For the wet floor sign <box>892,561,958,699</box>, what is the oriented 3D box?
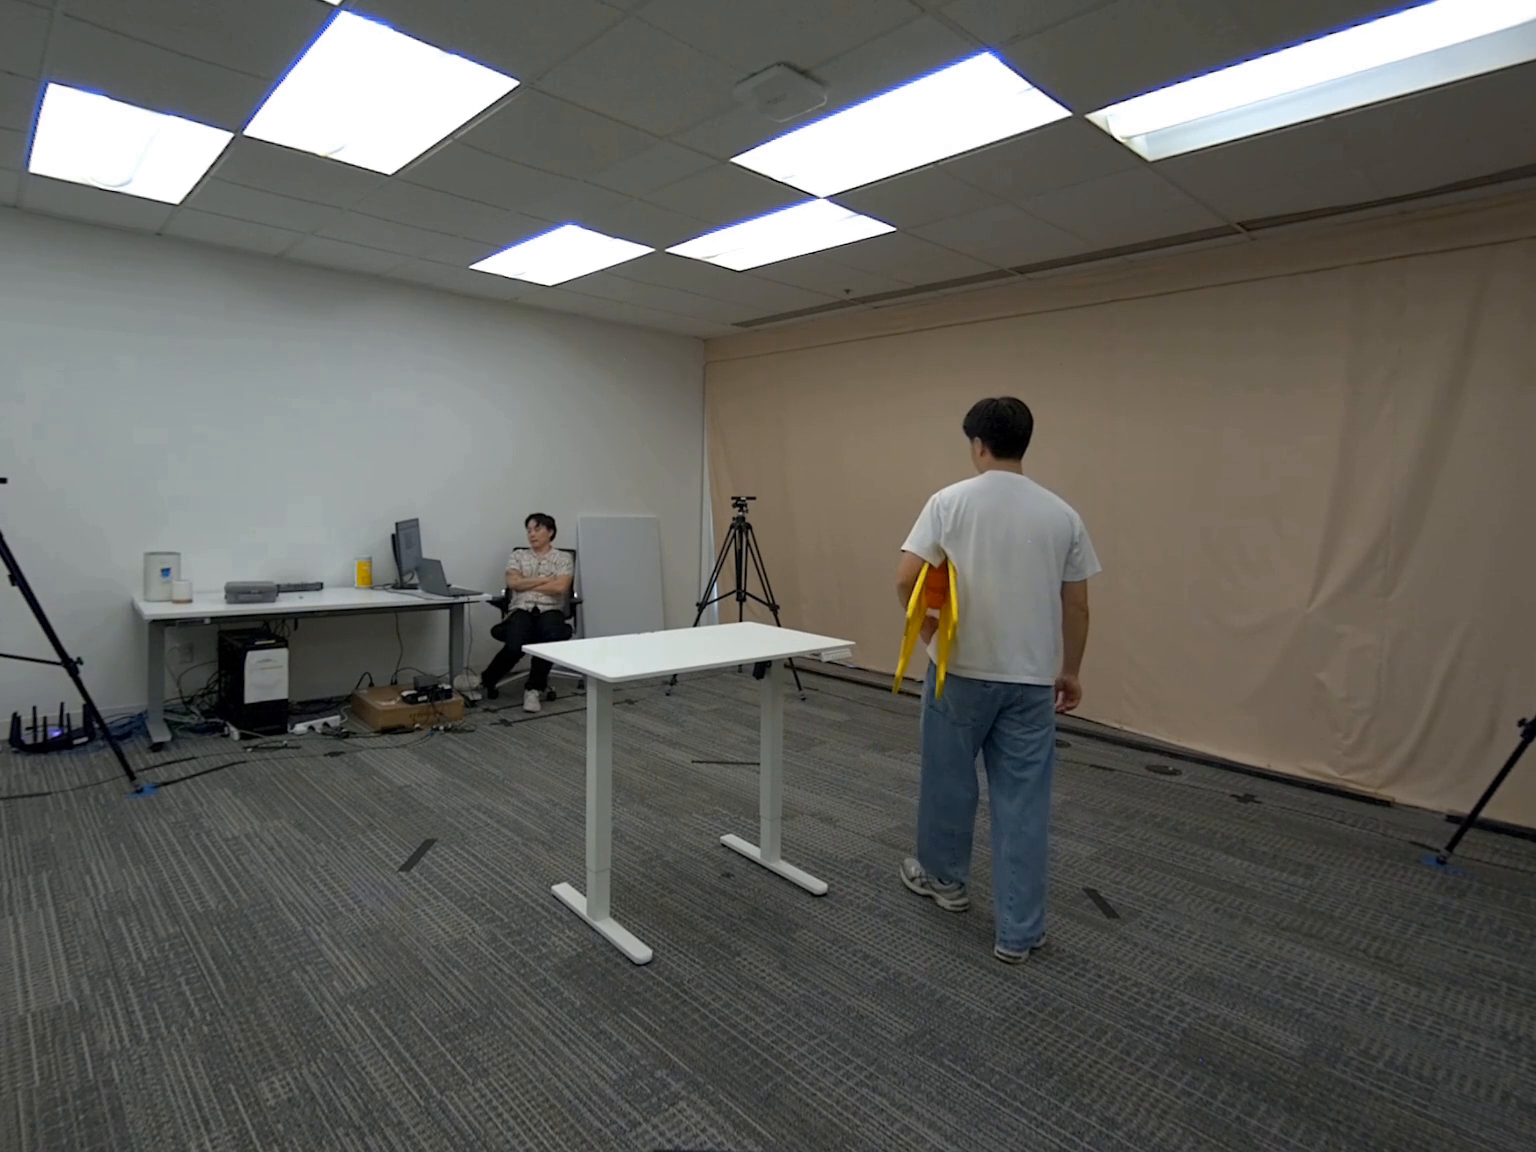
[{"bbox_3d":[0.532,0.081,2.665,0.292,0.277,0.652,6,28,7],"label":"wet floor sign"}]
